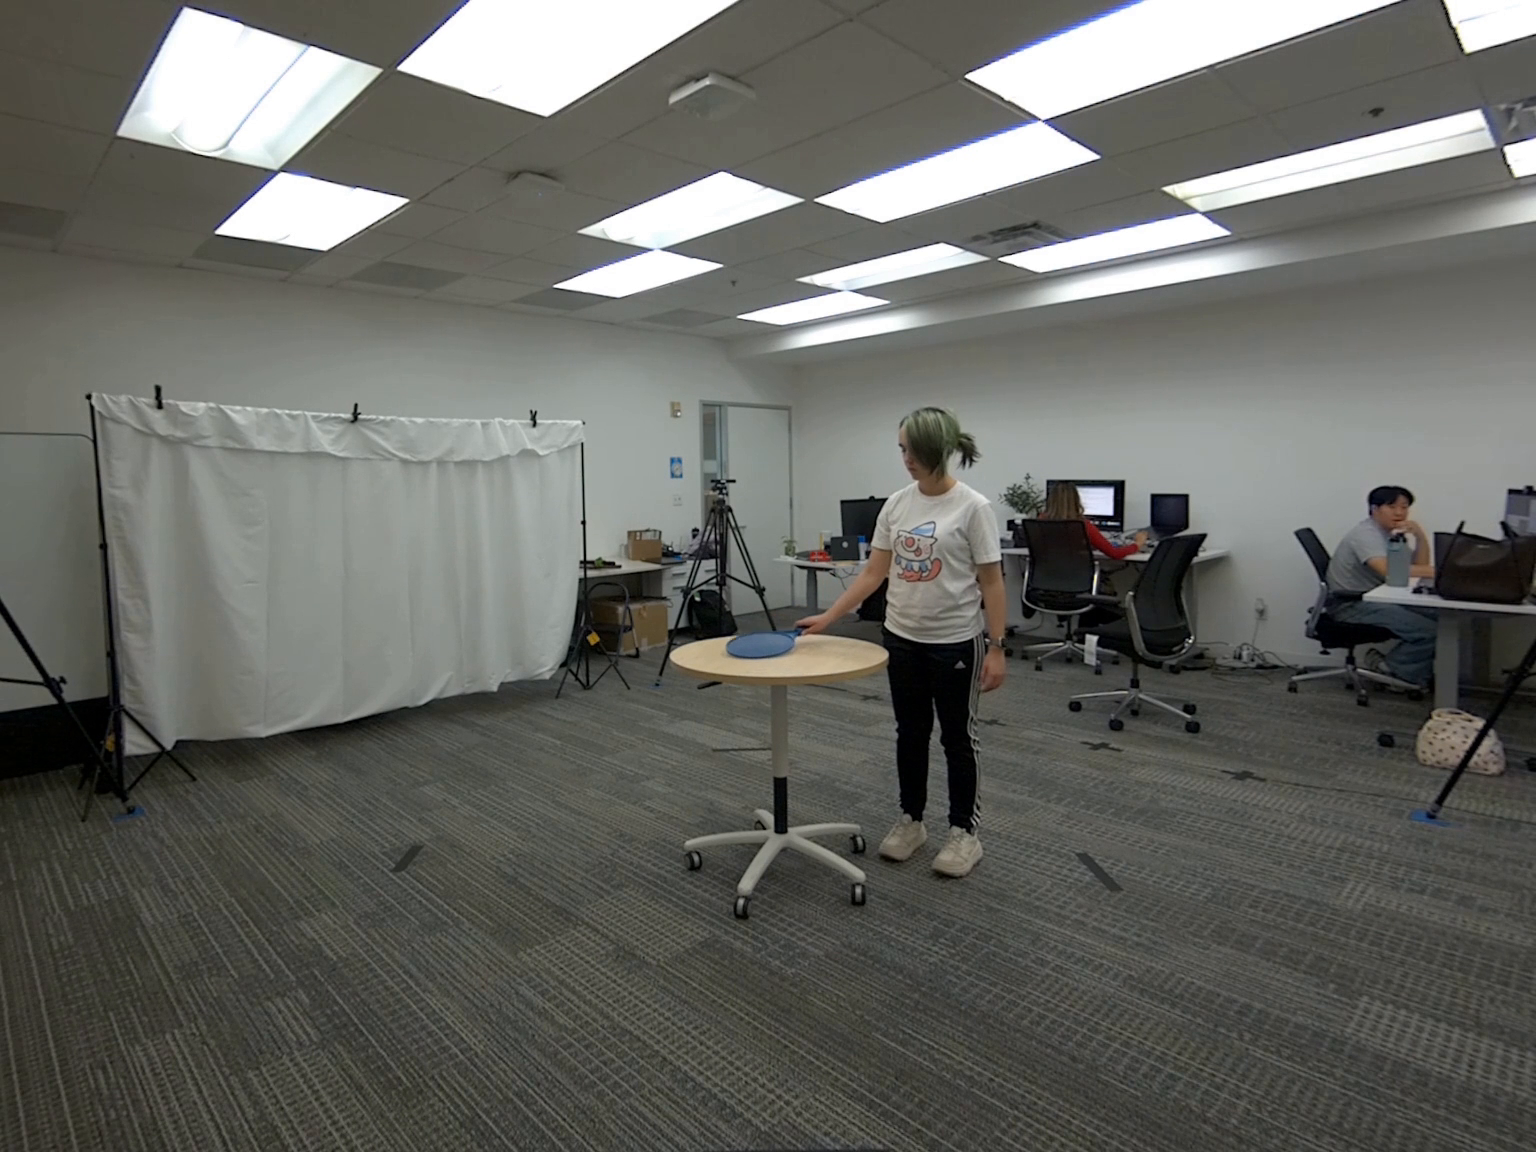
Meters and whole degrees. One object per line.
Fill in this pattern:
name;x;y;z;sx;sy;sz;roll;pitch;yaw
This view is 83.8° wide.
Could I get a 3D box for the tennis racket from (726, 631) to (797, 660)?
tennis racket;0.041;0.237;3.054;0.423;0.031;0.221;-11;18;-36
